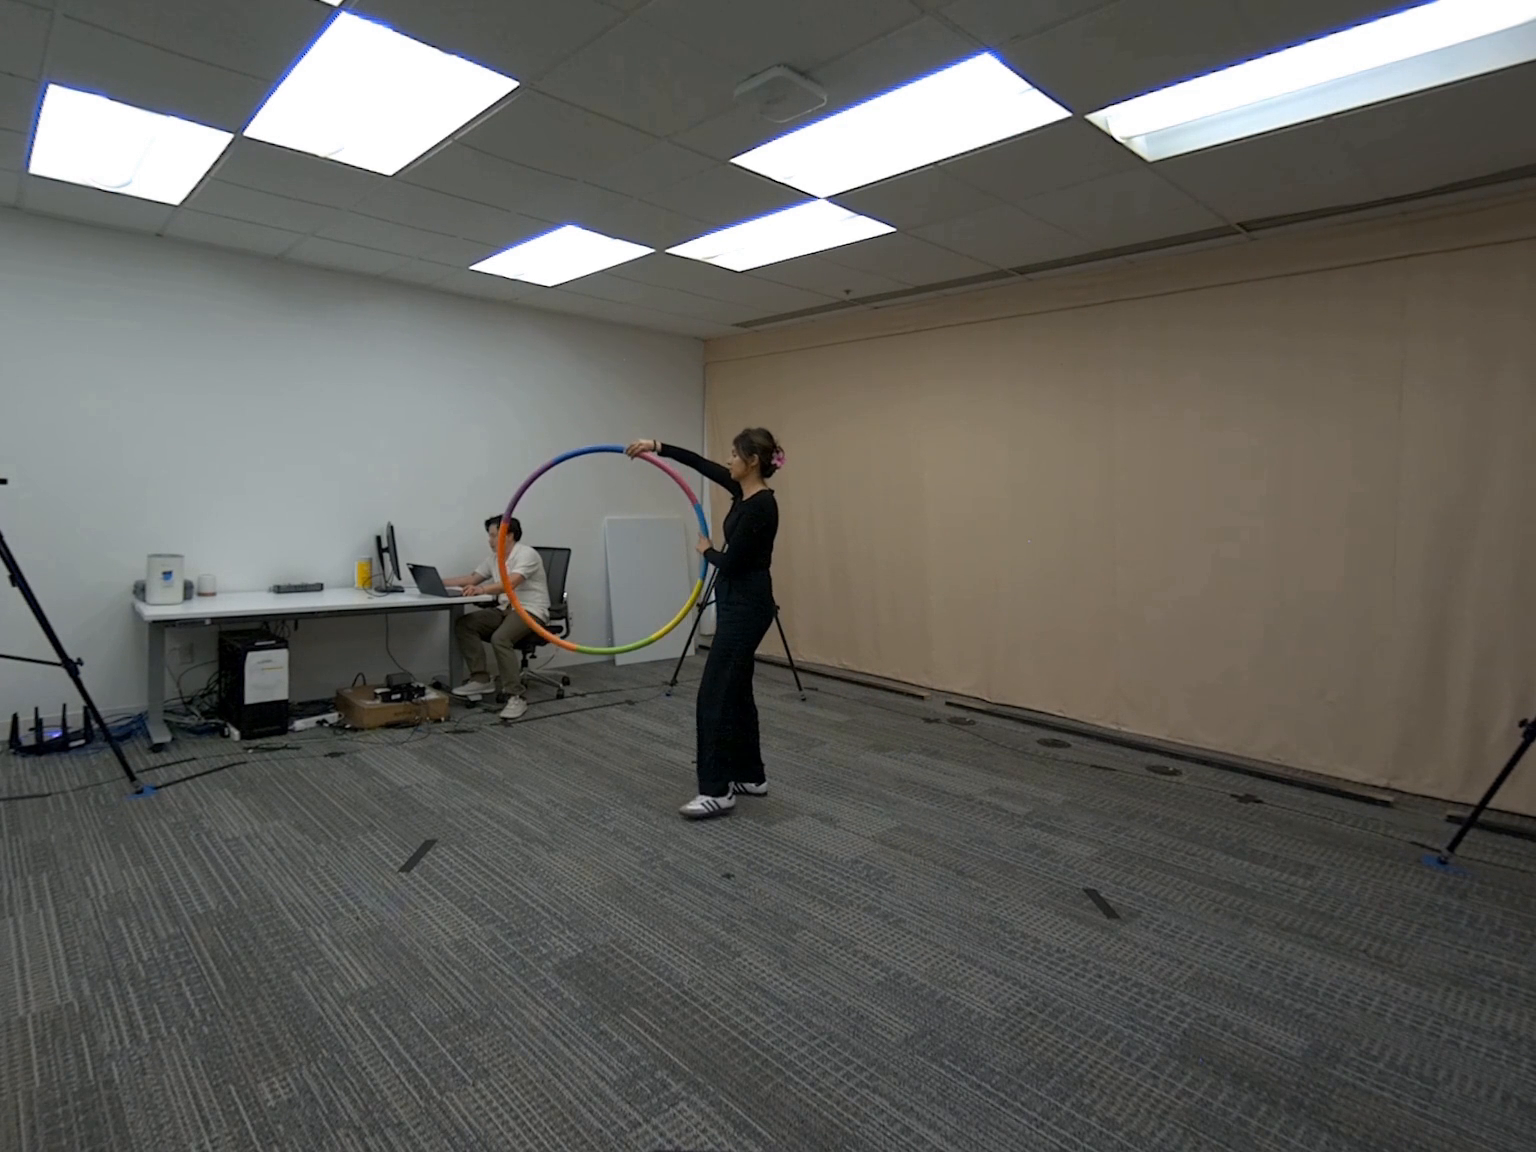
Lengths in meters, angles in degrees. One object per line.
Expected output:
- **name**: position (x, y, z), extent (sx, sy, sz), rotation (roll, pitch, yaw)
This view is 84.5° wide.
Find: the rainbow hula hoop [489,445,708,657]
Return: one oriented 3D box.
- **rainbow hula hoop**: position (-0.759, -0.113, 3.930), extent (0.979, 0.980, 0.052), rotation (1, 7, -8)
